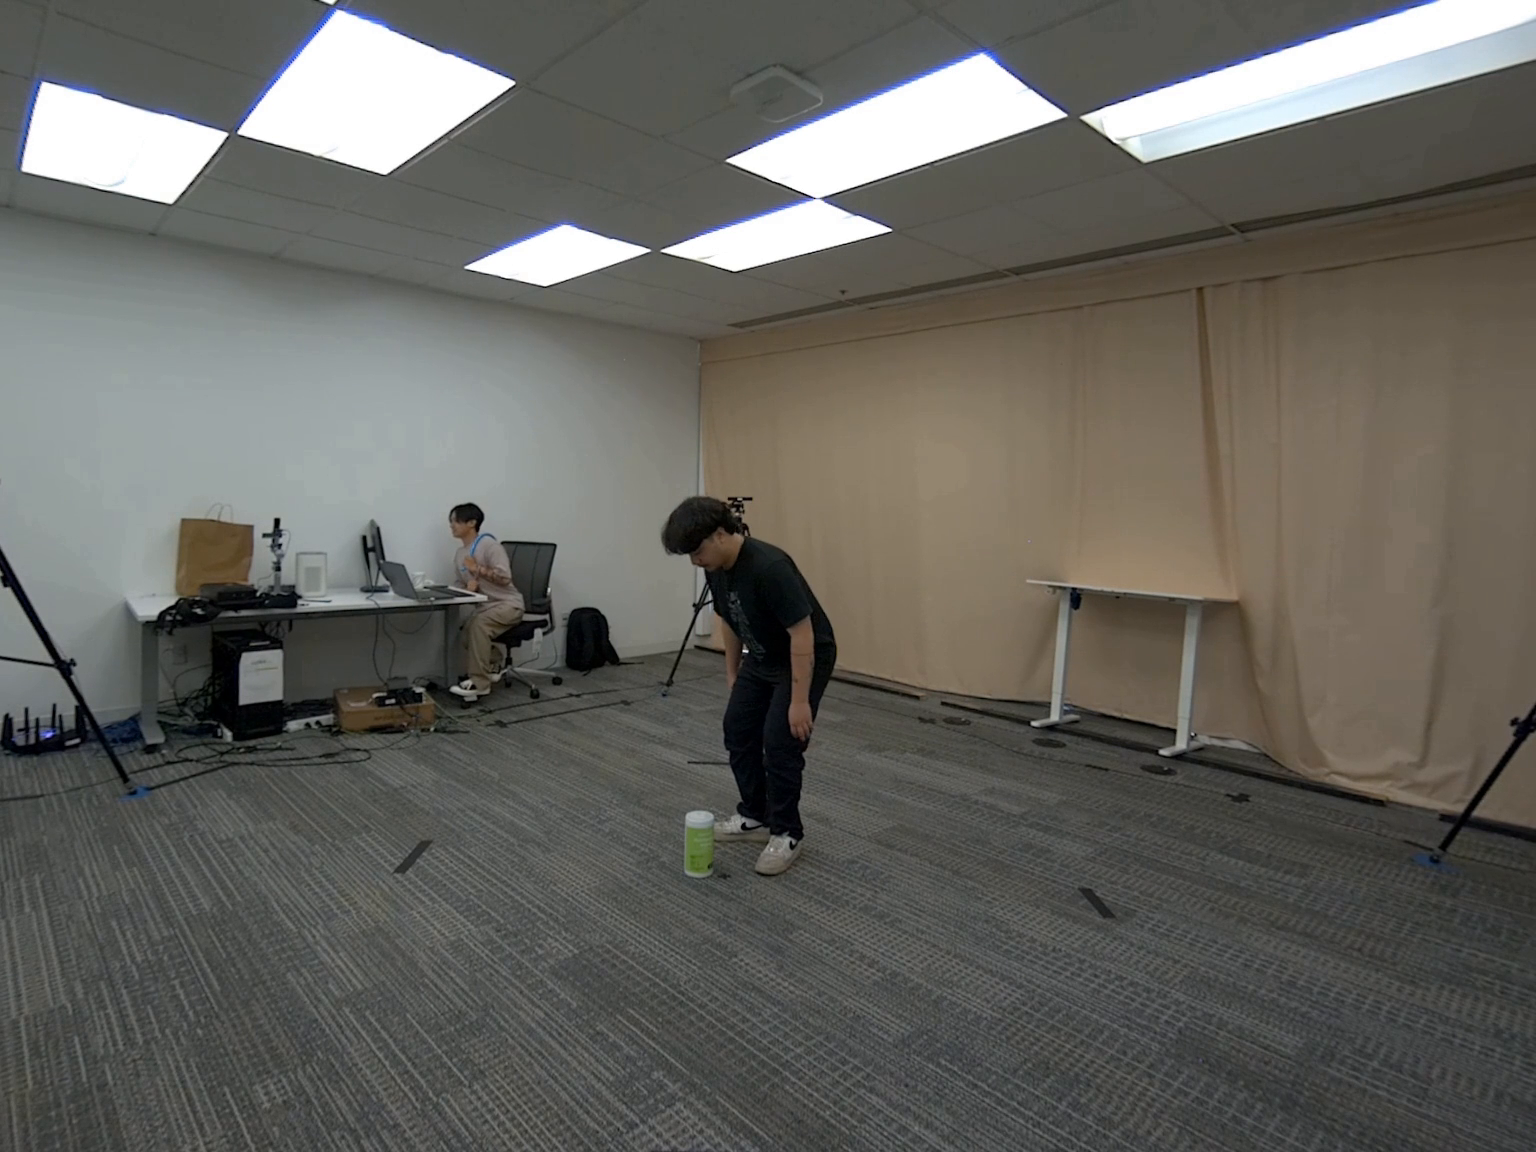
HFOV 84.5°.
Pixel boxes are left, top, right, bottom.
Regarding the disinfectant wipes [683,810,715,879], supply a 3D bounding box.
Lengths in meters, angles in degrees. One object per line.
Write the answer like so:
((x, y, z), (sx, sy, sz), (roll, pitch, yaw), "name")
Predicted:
((-0.264, 0.999, 3.122), (0.118, 0.217, 0.118), (2, 3, -2), "disinfectant wipes")
